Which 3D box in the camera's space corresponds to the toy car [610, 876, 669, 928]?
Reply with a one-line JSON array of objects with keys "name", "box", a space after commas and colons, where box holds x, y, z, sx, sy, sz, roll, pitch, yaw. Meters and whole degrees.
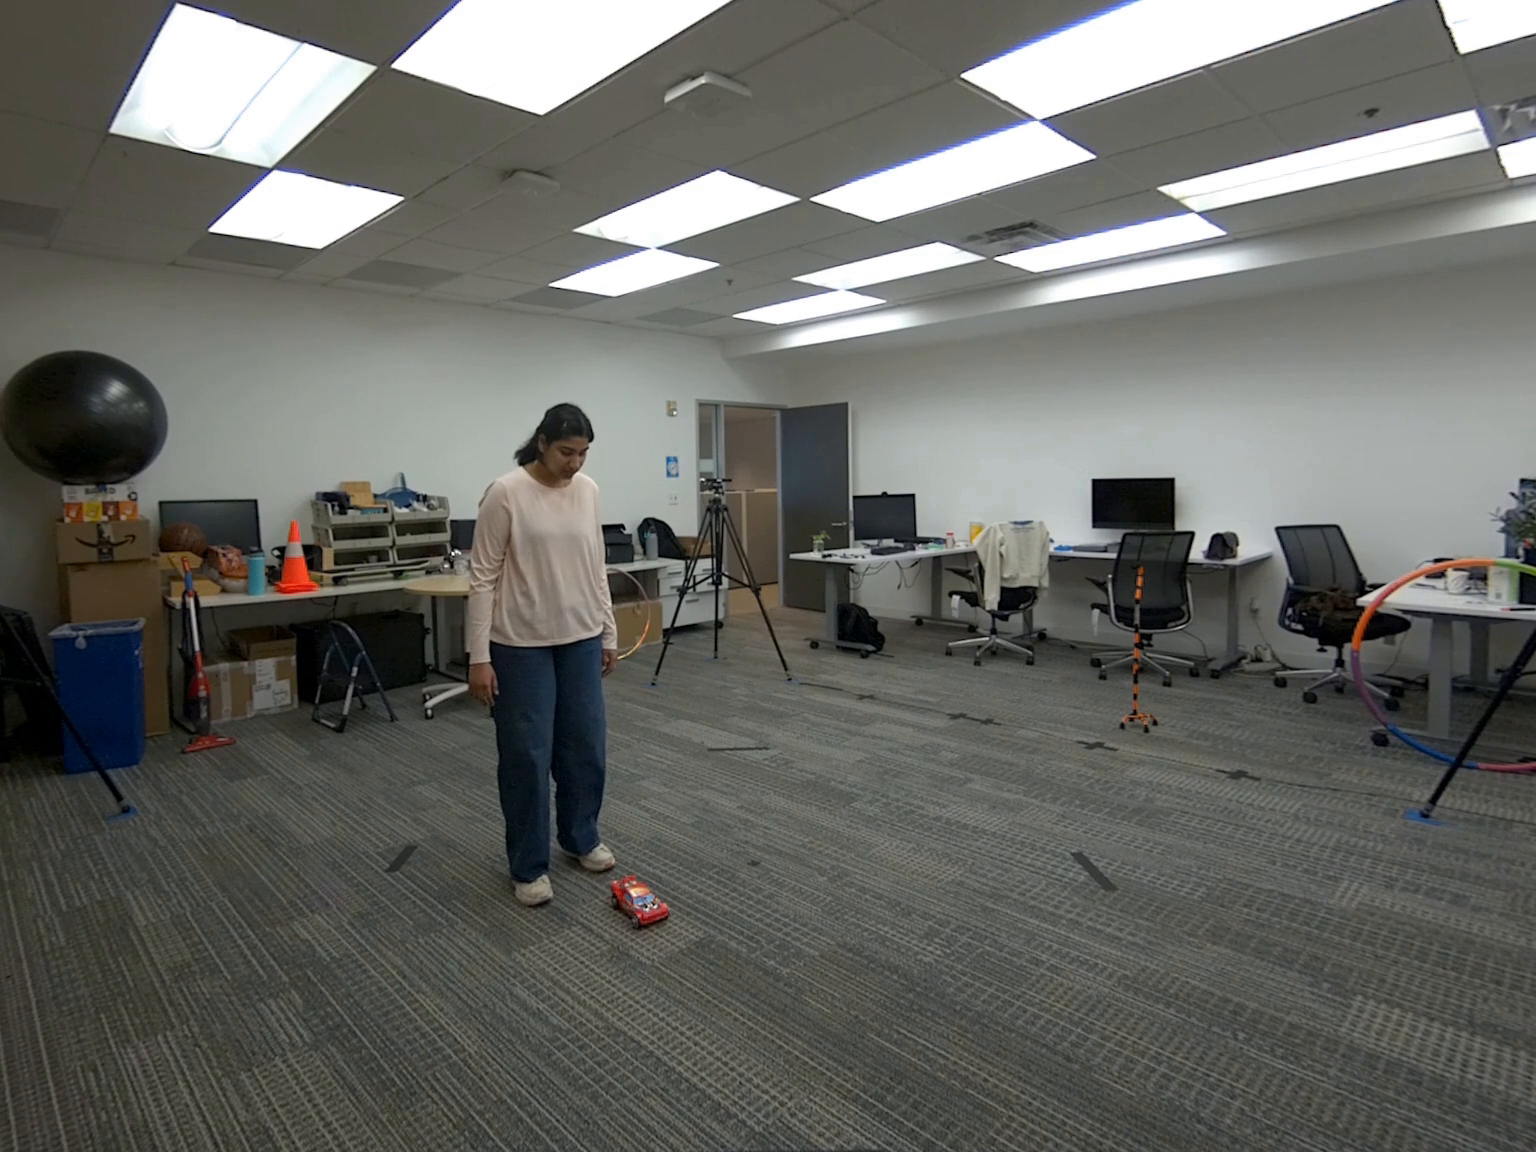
[{"name": "toy car", "box": [-0.425, 1.062, 2.775, 0.127, 0.082, 0.264, -5, 18, -33]}]
